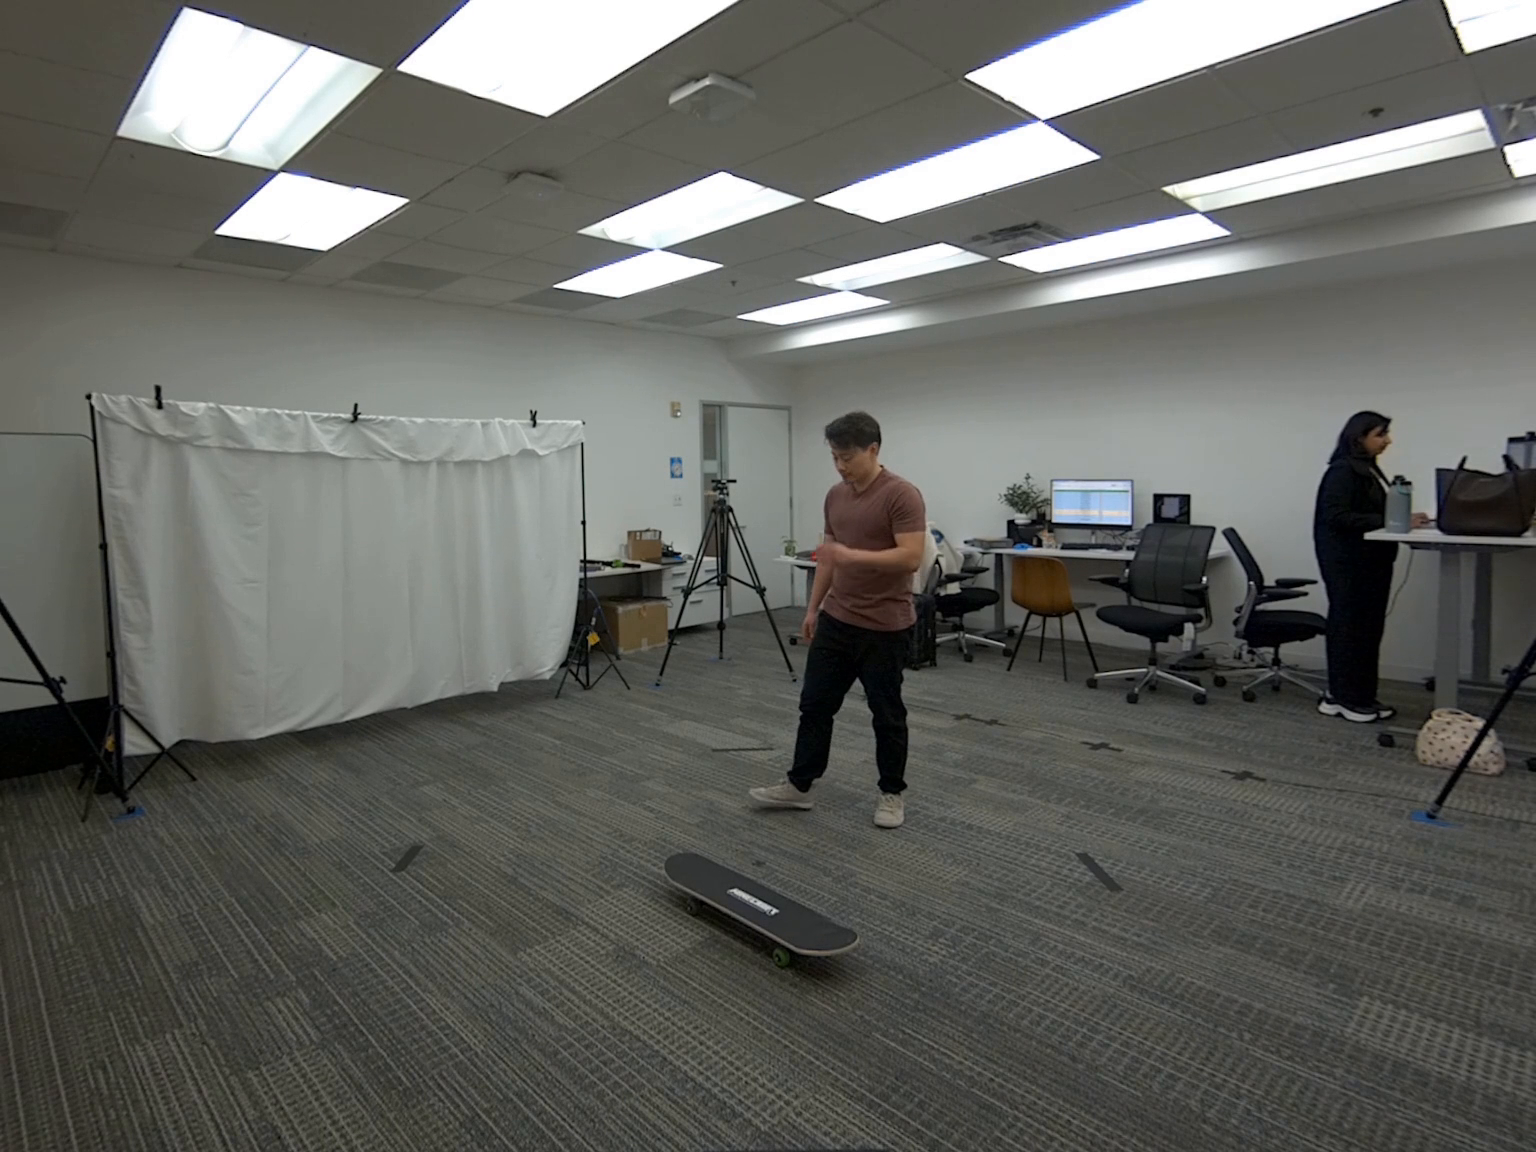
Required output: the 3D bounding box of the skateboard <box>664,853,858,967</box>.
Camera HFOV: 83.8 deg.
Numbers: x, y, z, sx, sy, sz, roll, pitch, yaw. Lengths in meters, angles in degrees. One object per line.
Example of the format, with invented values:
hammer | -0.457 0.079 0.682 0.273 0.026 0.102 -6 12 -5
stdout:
skateboard | -0.039 1.047 2.652 0.188 0.110 0.810 -5 7 -43
